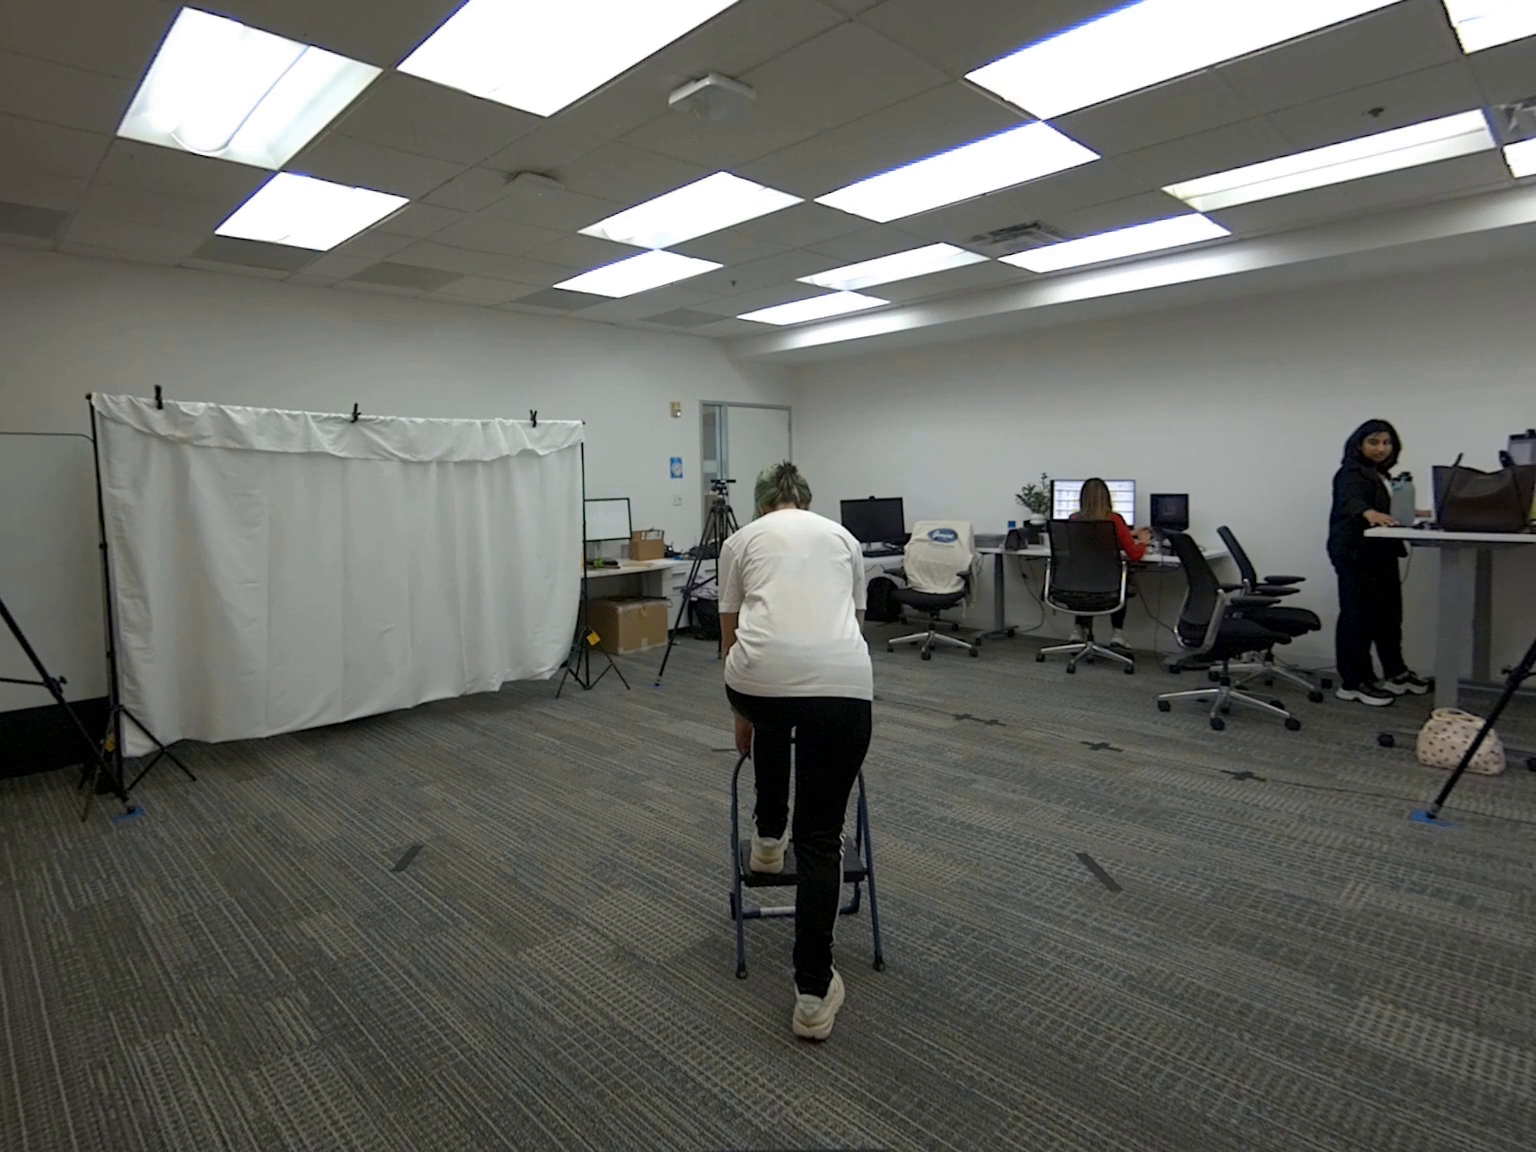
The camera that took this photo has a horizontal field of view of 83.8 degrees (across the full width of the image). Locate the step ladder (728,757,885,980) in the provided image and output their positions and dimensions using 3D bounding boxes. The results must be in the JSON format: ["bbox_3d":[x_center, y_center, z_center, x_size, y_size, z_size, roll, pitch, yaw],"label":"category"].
[{"bbox_3d":[0.105,0.811,2.563,0.429,0.604,0.352,-1,4,-5],"label":"step ladder"}]
